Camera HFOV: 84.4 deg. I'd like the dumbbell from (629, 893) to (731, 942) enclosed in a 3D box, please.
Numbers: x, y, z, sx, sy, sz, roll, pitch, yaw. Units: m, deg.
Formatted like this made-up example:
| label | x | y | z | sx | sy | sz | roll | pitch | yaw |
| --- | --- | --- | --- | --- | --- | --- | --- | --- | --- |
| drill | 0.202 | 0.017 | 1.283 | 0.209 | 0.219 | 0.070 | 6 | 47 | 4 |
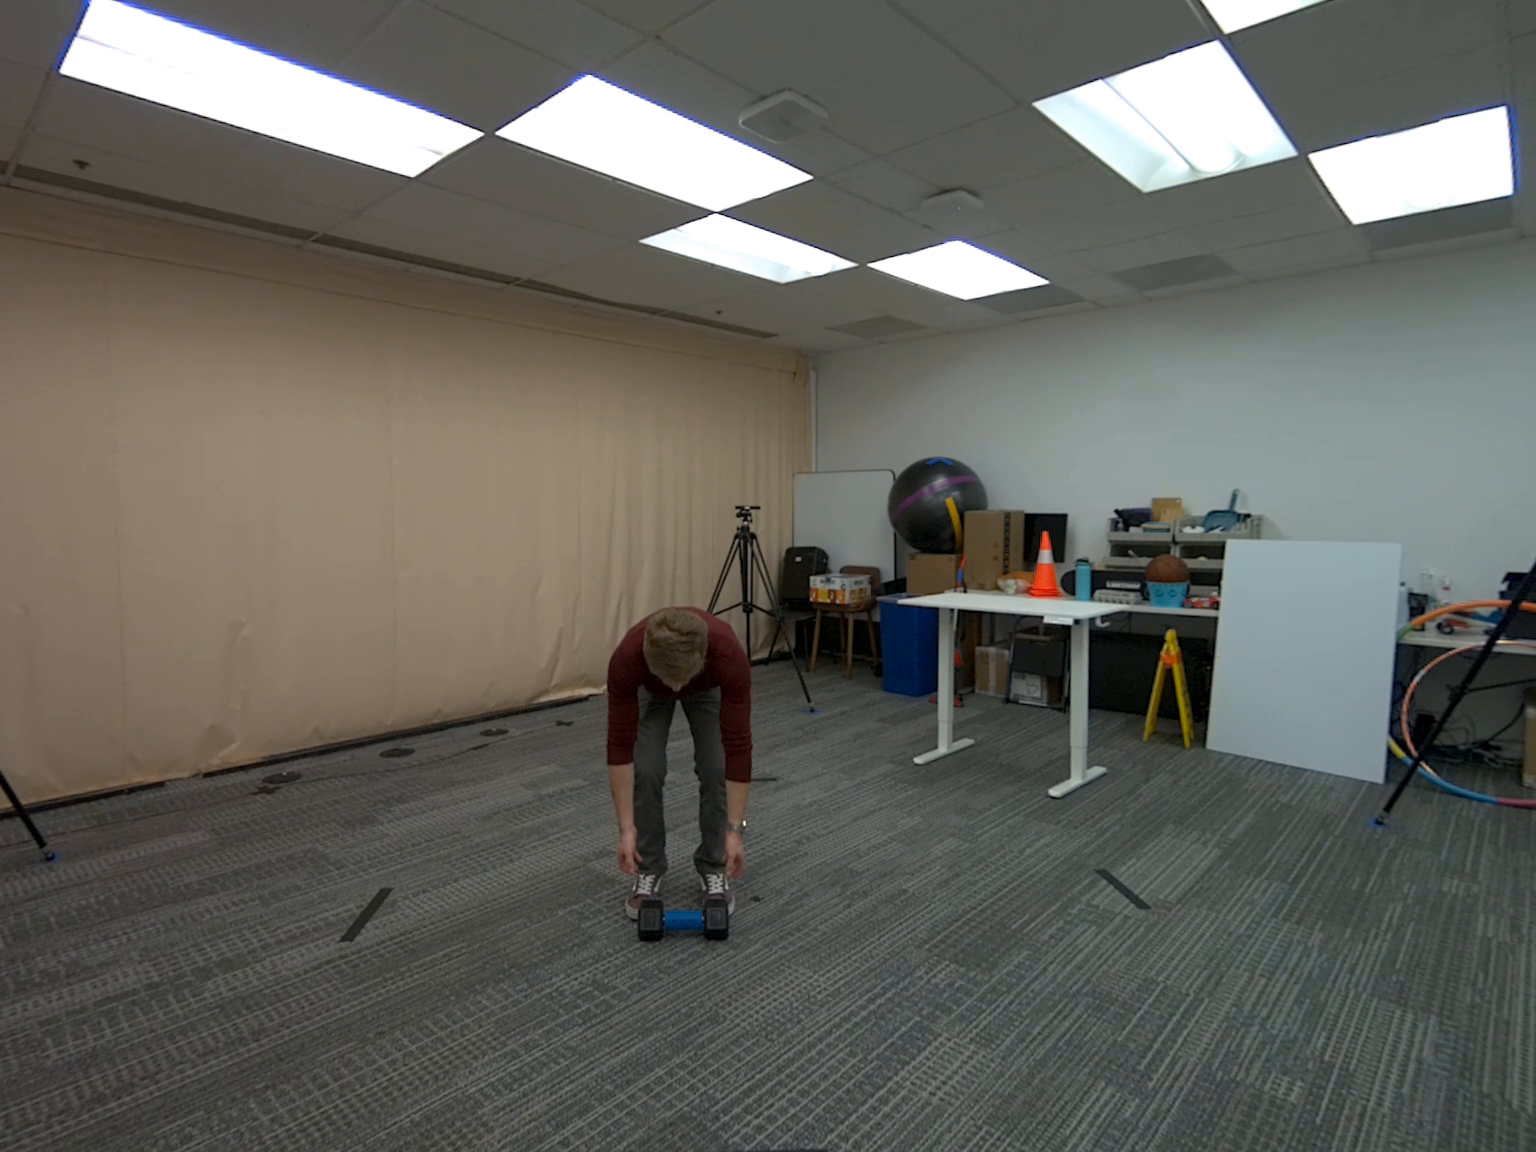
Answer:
| label | x | y | z | sx | sy | sz | roll | pitch | yaw |
| --- | --- | --- | --- | --- | --- | --- | --- | --- | --- |
| dumbbell | -0.276 | 1.115 | 2.721 | 0.293 | 0.125 | 0.107 | 0 | -24 | 0 |
